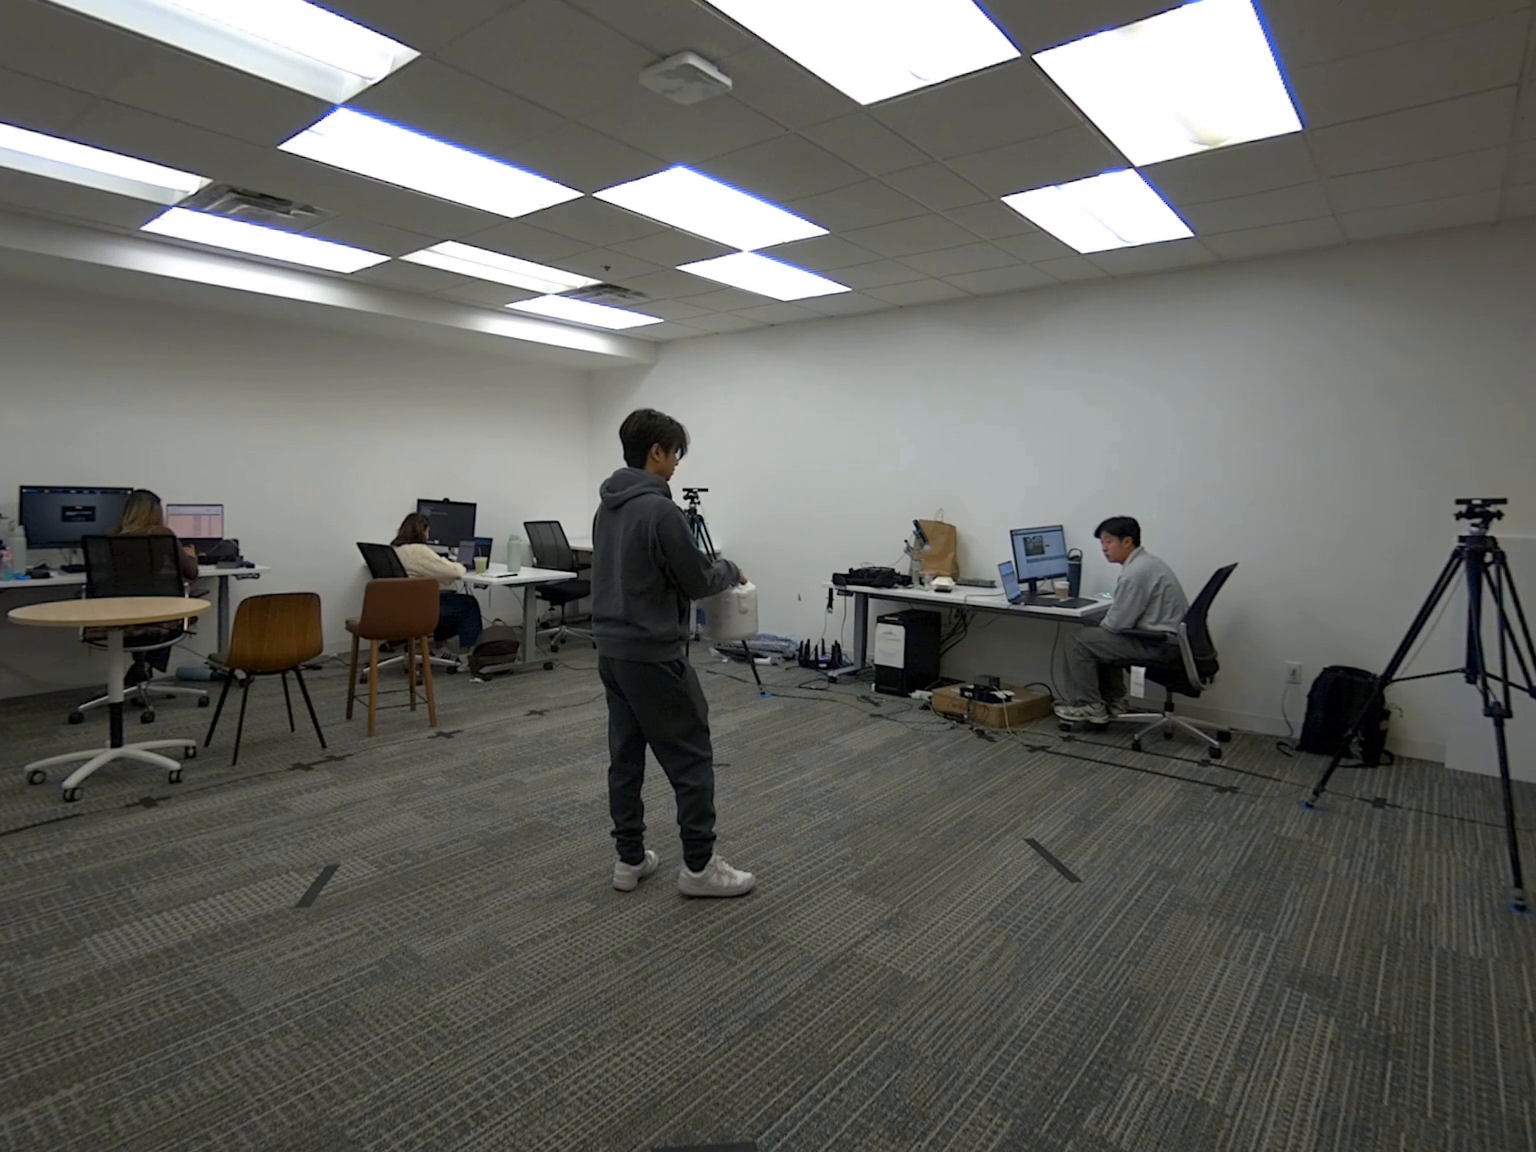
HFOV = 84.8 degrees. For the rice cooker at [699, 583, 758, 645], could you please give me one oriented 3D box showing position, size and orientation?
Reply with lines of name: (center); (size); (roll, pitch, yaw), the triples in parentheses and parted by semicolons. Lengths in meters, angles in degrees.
rice cooker: (-0.153, 0.115, 3.212); (0.212, 0.231, 0.227); (-7, 8, -29)
